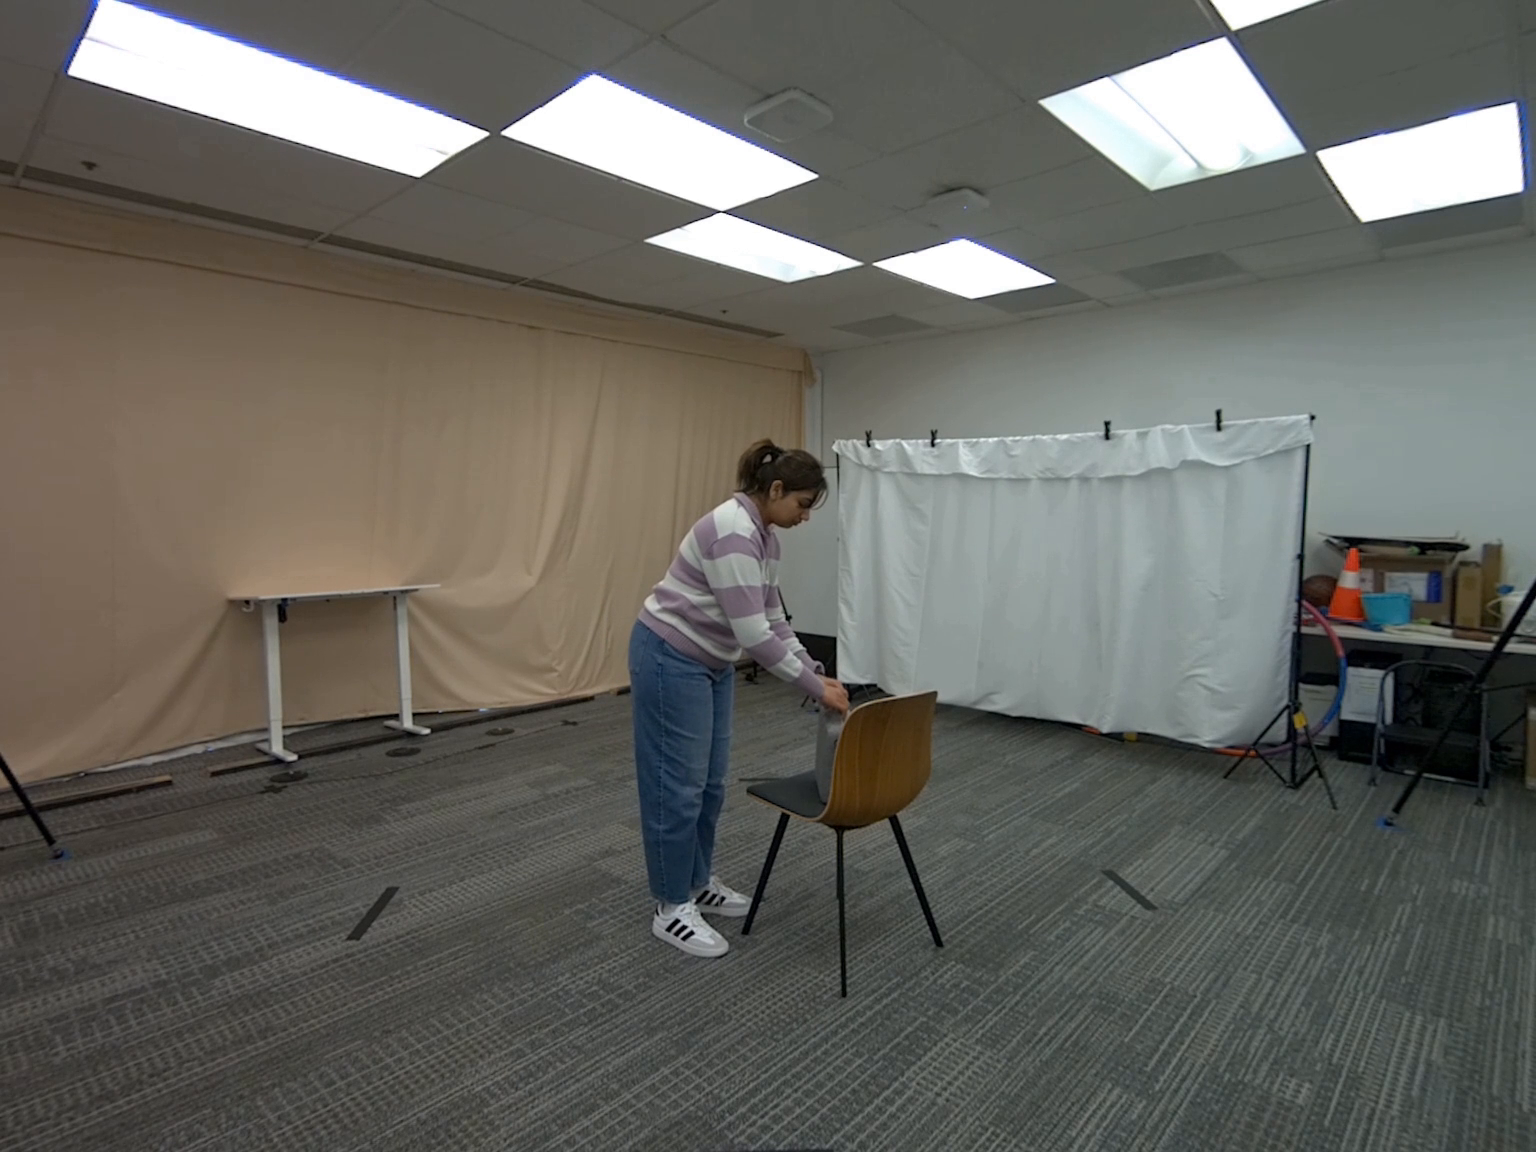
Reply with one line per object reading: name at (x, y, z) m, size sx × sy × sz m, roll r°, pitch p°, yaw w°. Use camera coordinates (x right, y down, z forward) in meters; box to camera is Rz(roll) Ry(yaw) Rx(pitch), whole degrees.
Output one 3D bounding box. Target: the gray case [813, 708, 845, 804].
gray case at (0.229, 0.561, 2.664) m, size 0.104 × 0.260 × 0.258 m, roll 2°, pitch 6°, yaw -4°
